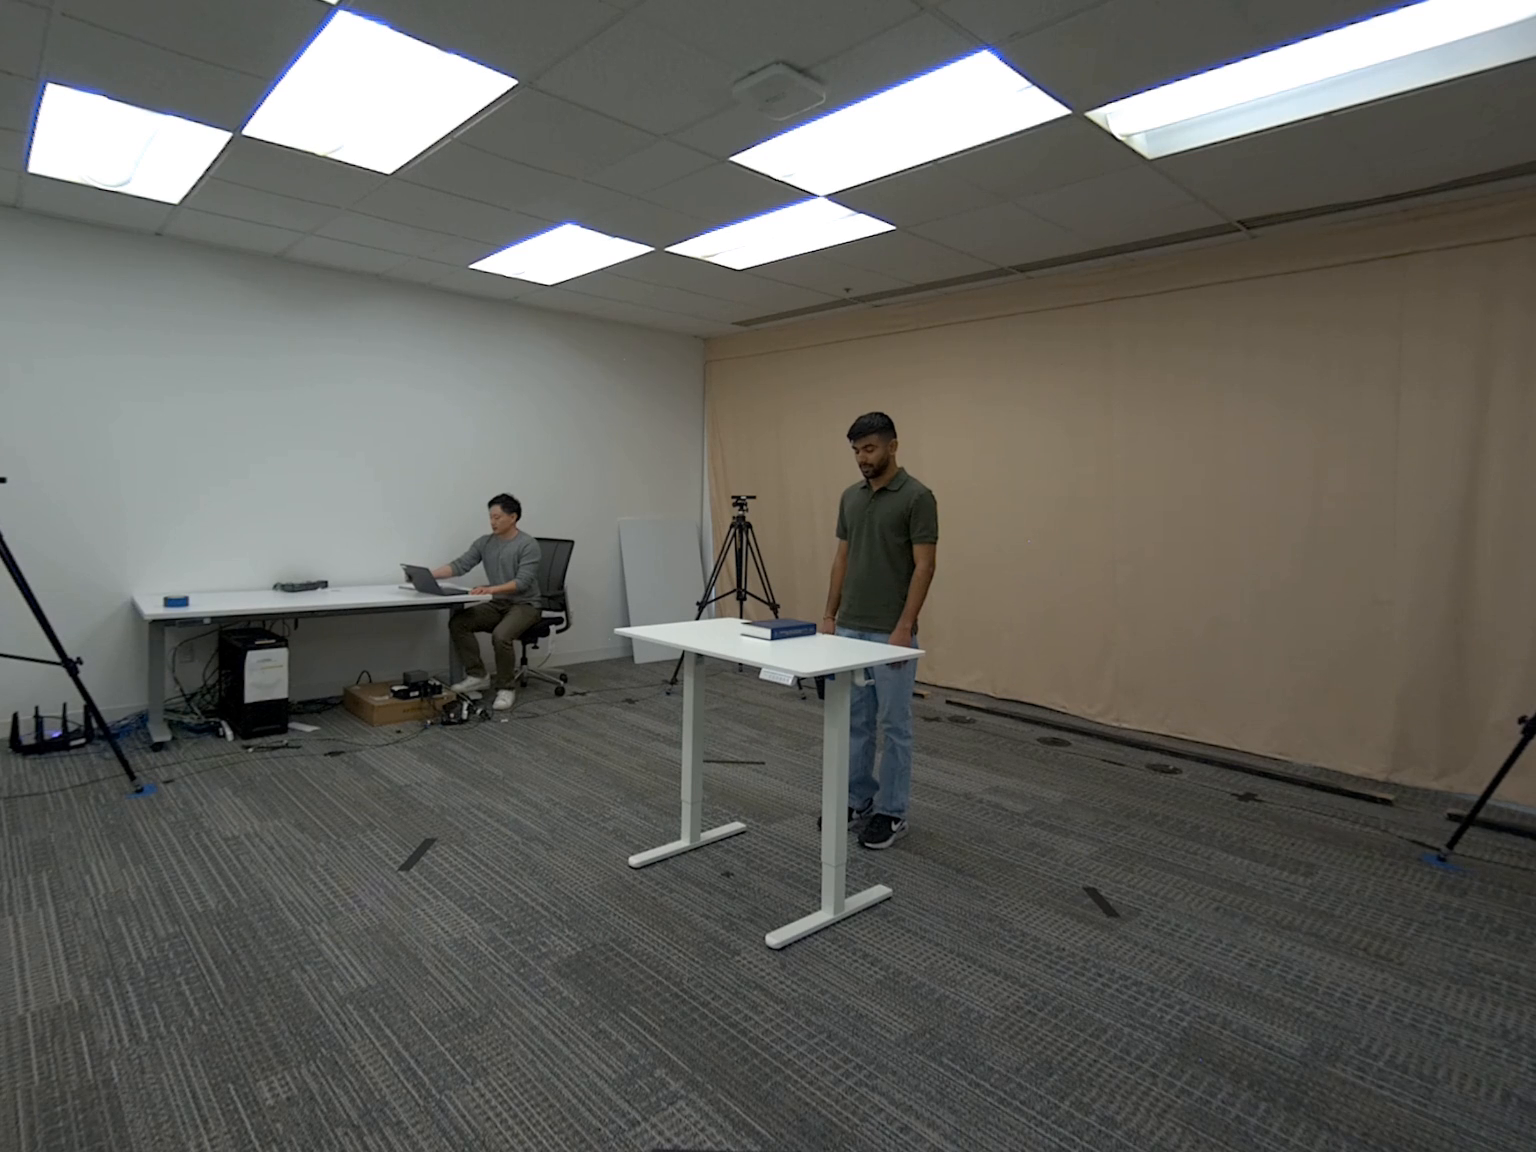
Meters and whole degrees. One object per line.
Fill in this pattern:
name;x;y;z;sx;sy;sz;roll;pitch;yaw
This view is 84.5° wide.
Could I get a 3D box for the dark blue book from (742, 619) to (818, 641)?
dark blue book;0.042;0.199;3.148;0.239;0.045;0.168;-3;7;-44
